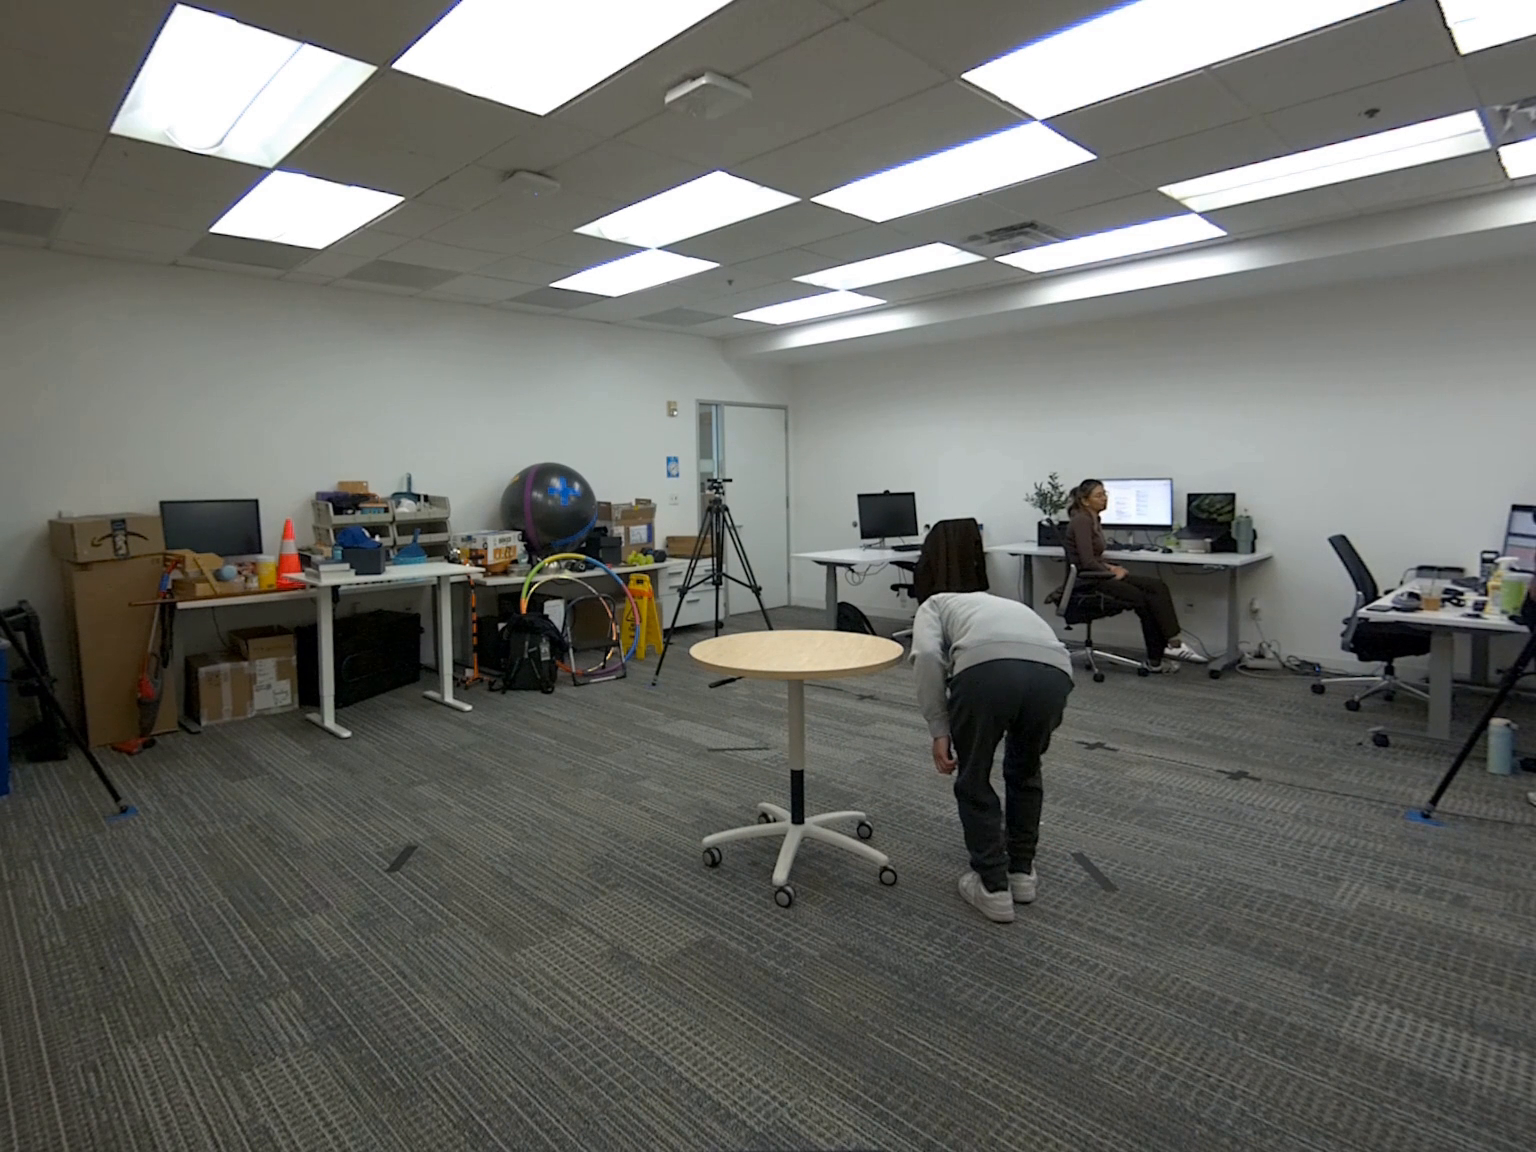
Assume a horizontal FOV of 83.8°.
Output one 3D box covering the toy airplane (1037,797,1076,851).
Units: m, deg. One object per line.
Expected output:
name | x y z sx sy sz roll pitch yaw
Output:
toy airplane | 0.920 0.921 3.145 0.242 0.160 0.262 14 -34 -41
